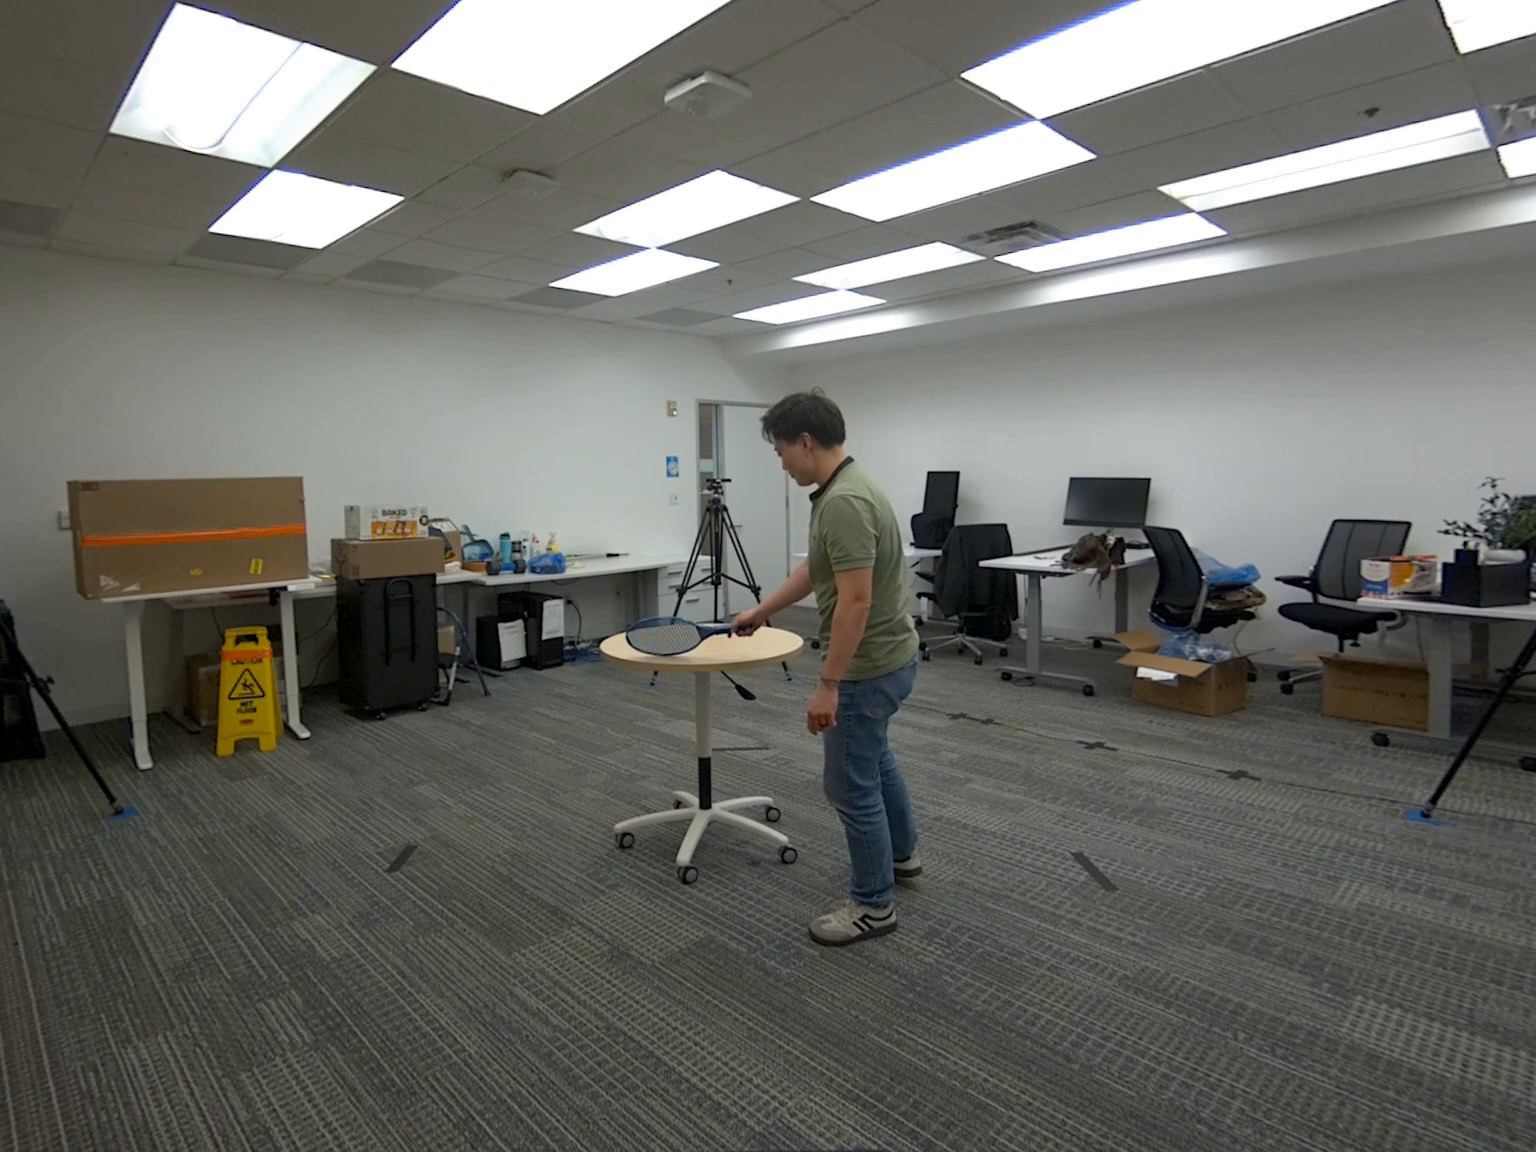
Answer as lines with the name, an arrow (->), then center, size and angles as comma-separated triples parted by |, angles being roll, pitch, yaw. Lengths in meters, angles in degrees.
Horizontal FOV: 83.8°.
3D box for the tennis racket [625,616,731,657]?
tennis racket -> -0.266, 0.194, 2.908 | 0.438, 0.206, 0.032 | -8, 44, 14
